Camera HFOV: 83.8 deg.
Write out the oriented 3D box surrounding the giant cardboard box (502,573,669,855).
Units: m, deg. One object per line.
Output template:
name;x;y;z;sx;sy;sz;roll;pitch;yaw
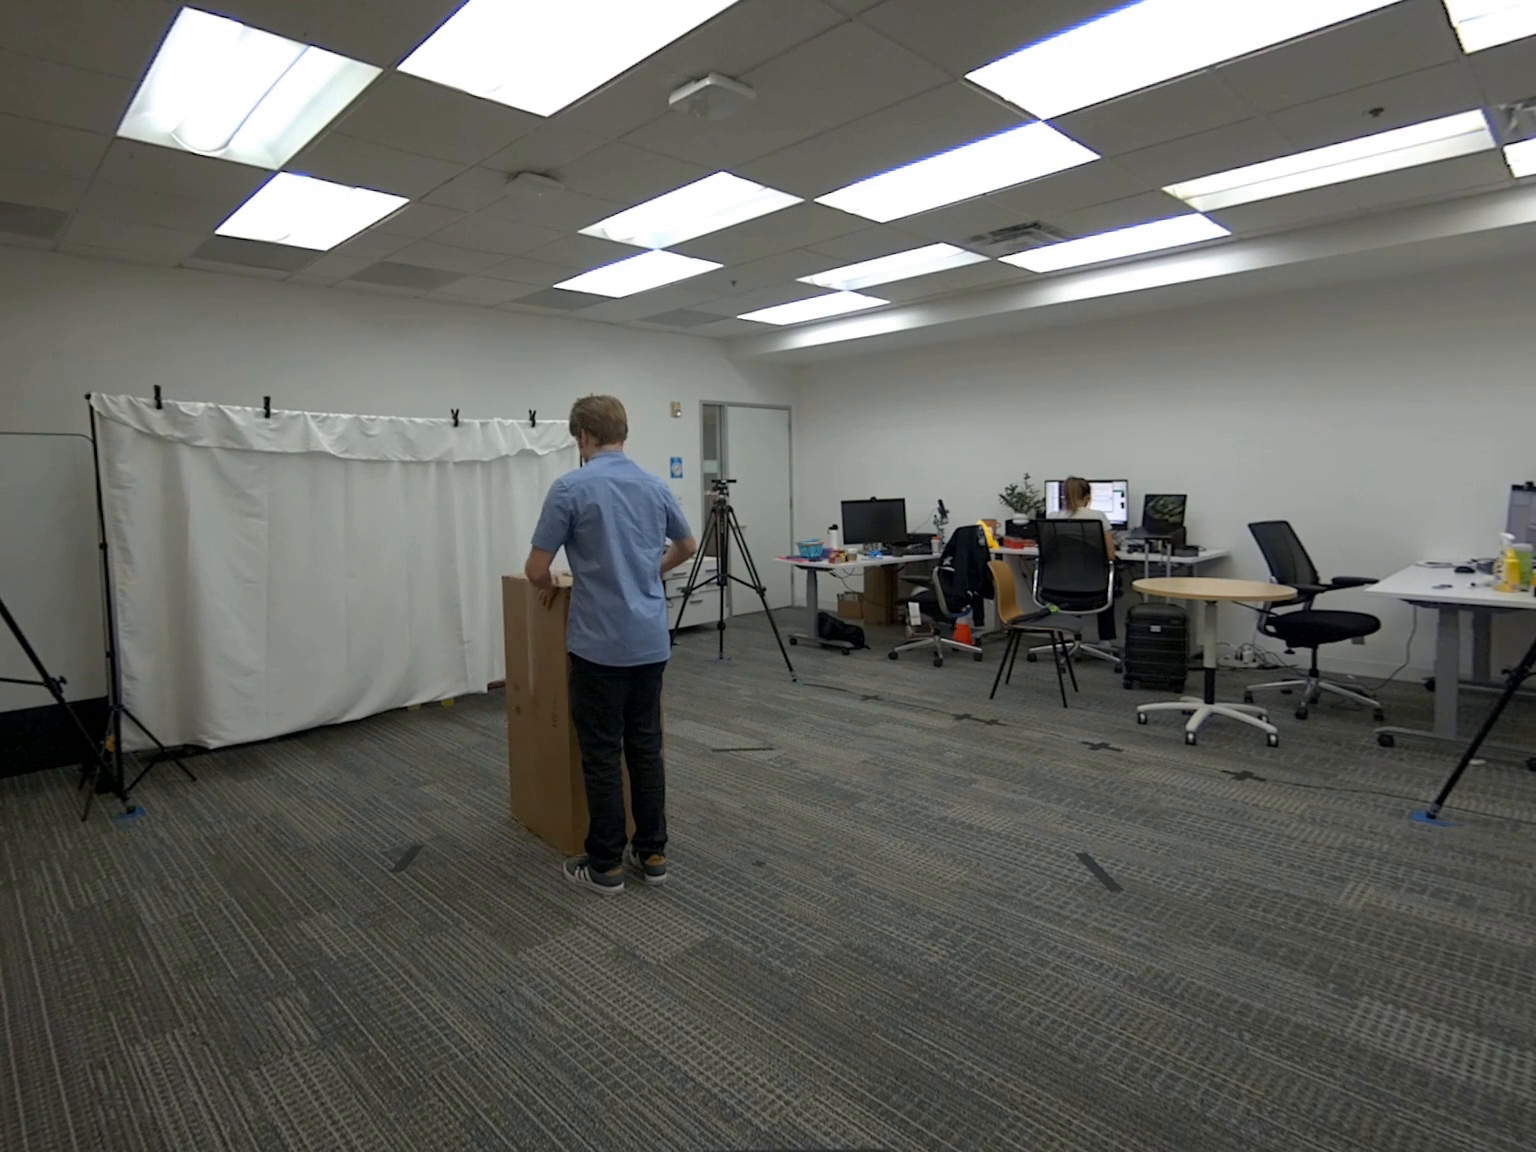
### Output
giant cardboard box;-0.760;0.512;3.495;0.415;1.023;0.594;-4;4;-38
